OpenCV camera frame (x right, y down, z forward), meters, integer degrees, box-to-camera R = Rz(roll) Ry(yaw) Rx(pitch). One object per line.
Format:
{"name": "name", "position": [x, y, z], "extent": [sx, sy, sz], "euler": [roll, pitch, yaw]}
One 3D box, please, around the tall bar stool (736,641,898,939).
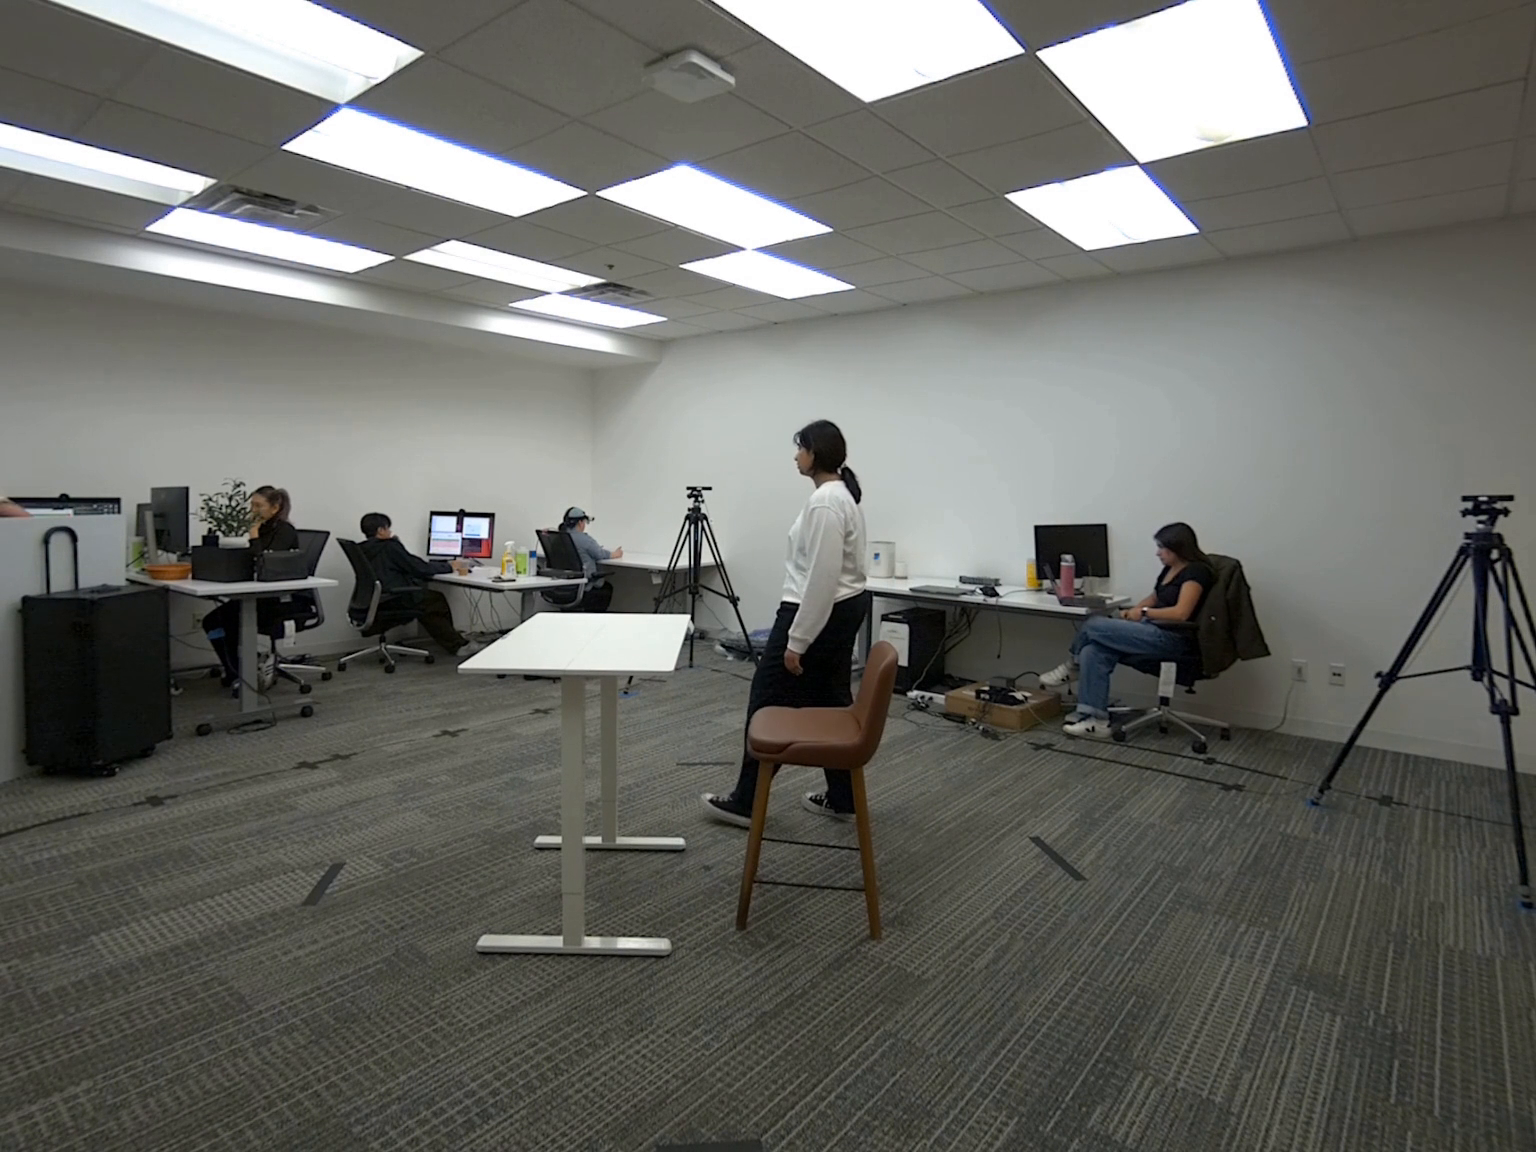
{"name": "tall bar stool", "position": [0.156, 0.669, 2.823], "extent": [0.472, 0.887, 0.454], "euler": [4, 3, 7]}
